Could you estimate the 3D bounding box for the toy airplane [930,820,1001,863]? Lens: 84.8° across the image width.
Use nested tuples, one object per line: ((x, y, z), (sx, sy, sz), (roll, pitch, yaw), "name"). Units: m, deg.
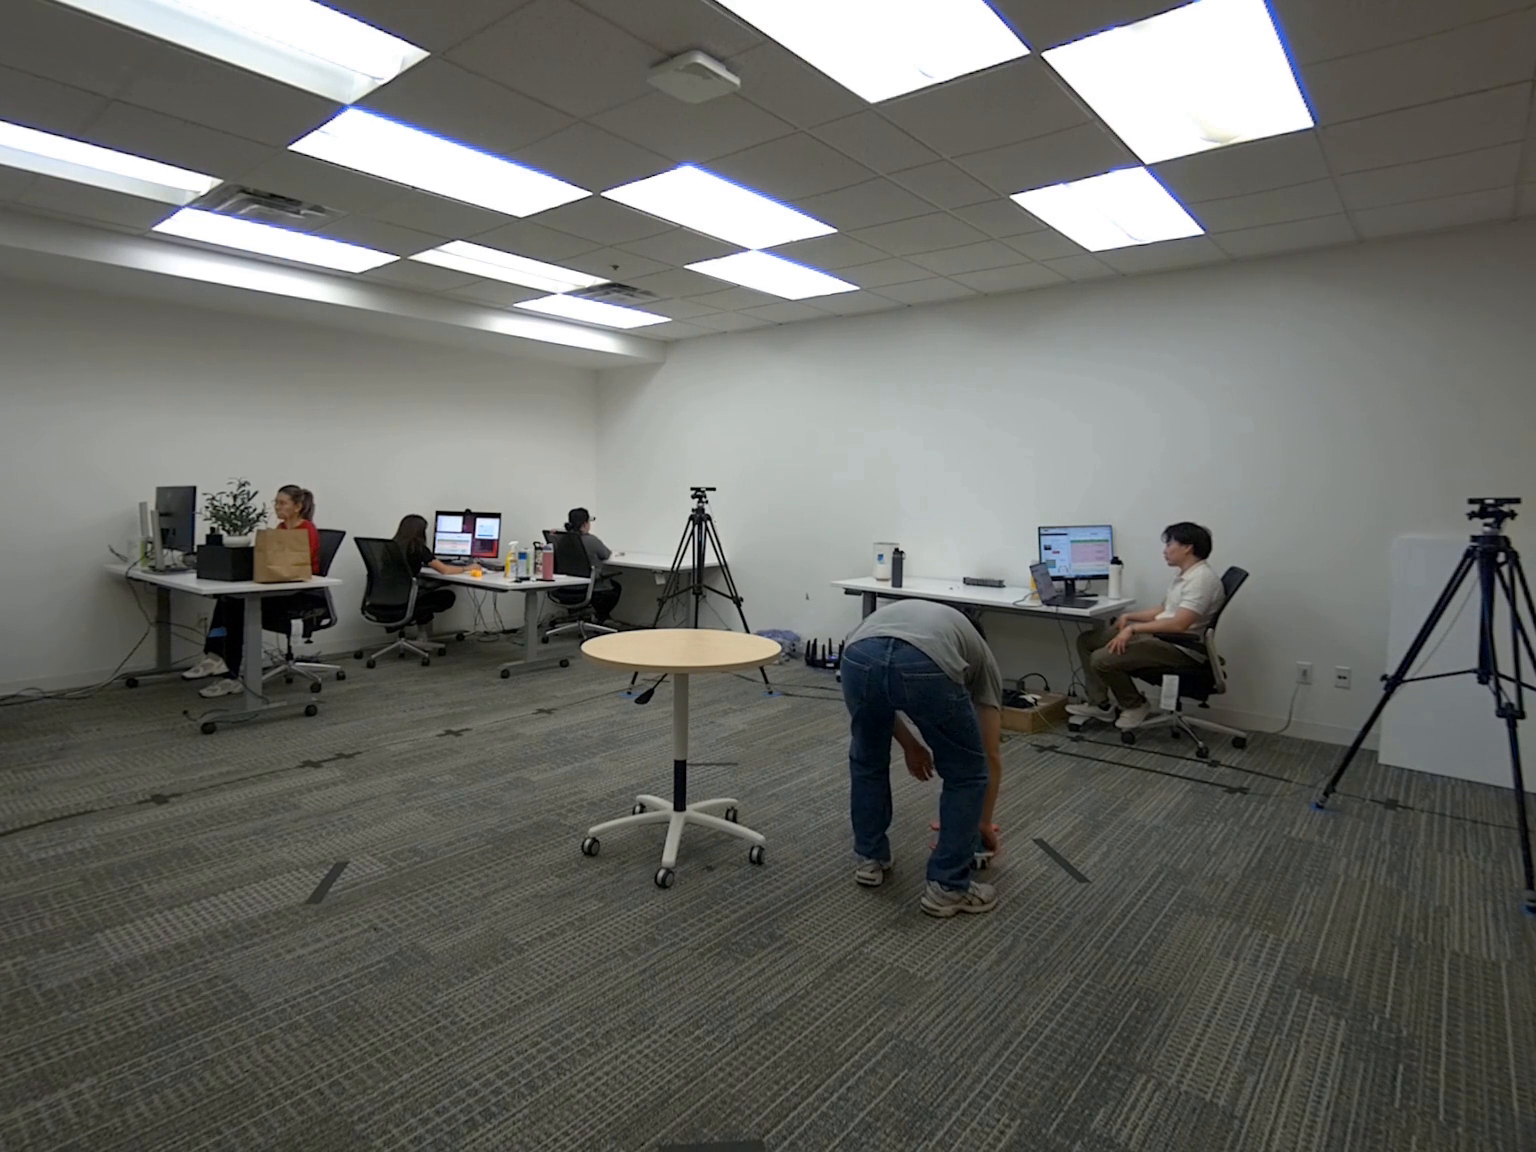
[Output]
((0.747, 0.985, 3.139), (0.243, 0.158, 0.264), (6, -13, -32), "toy airplane")
